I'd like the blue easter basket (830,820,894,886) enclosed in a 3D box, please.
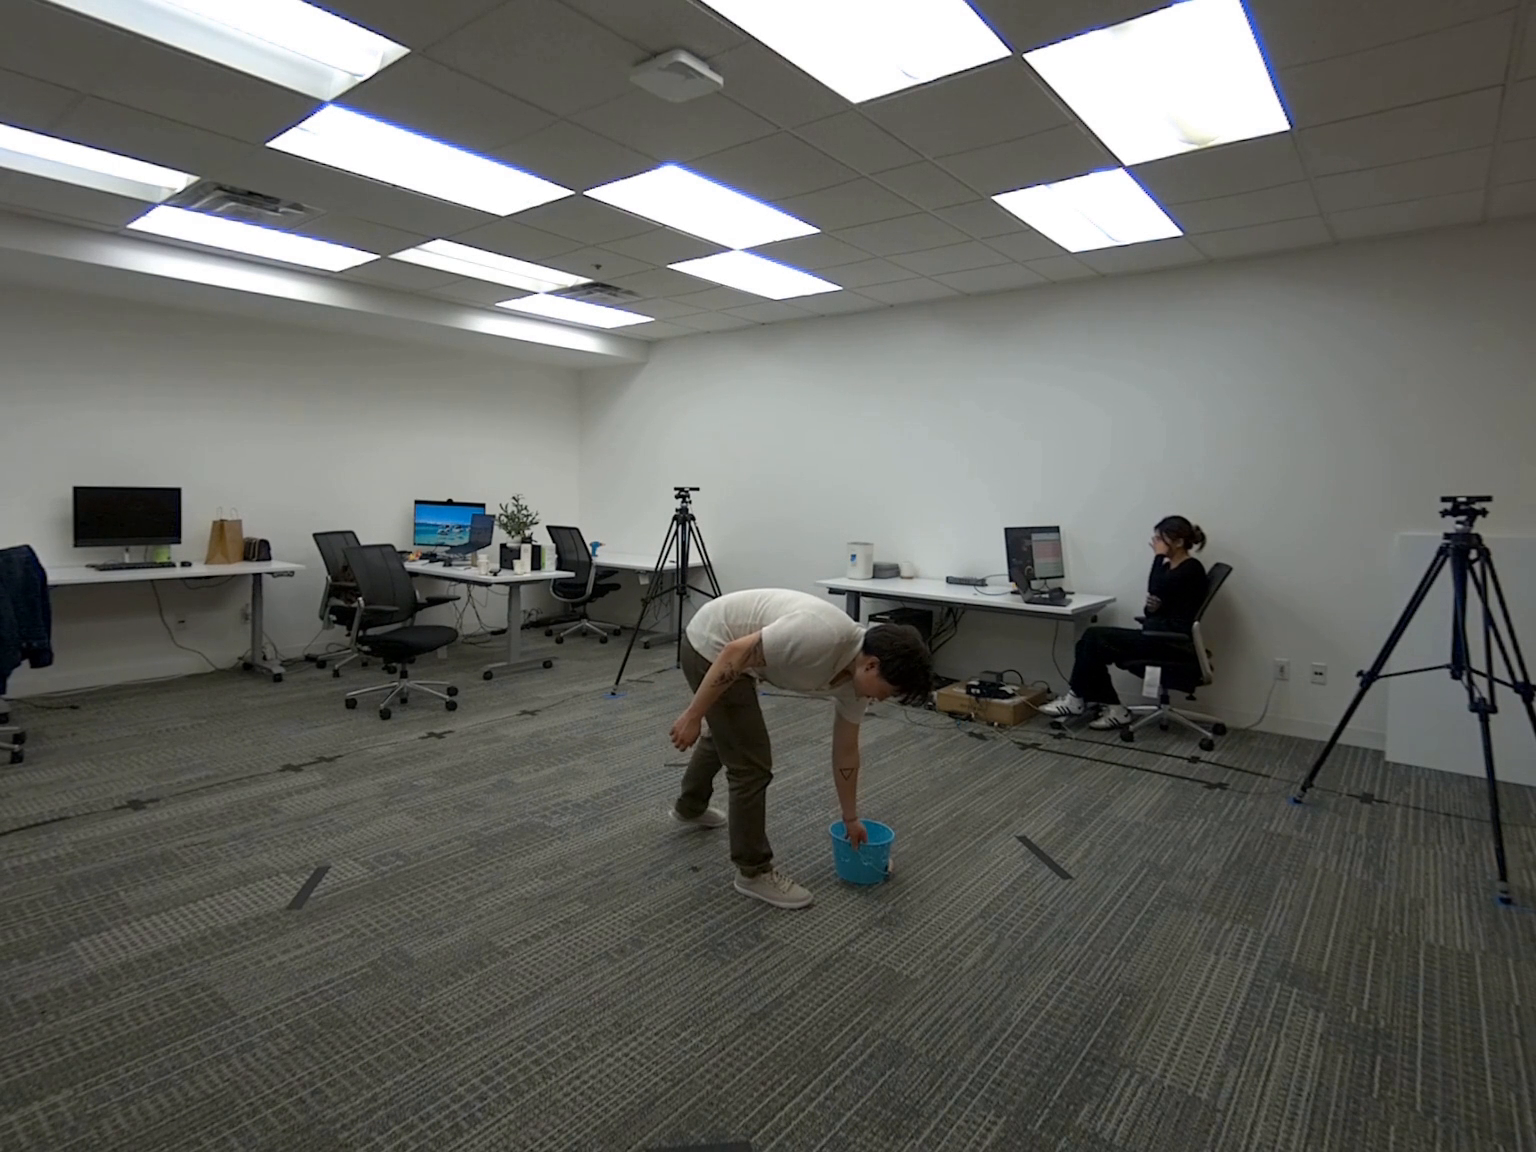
[{"bbox_3d":[0.329,0.996,3.110,0.243,0.155,0.245,0,4,-2],"label":"blue easter basket"}]
